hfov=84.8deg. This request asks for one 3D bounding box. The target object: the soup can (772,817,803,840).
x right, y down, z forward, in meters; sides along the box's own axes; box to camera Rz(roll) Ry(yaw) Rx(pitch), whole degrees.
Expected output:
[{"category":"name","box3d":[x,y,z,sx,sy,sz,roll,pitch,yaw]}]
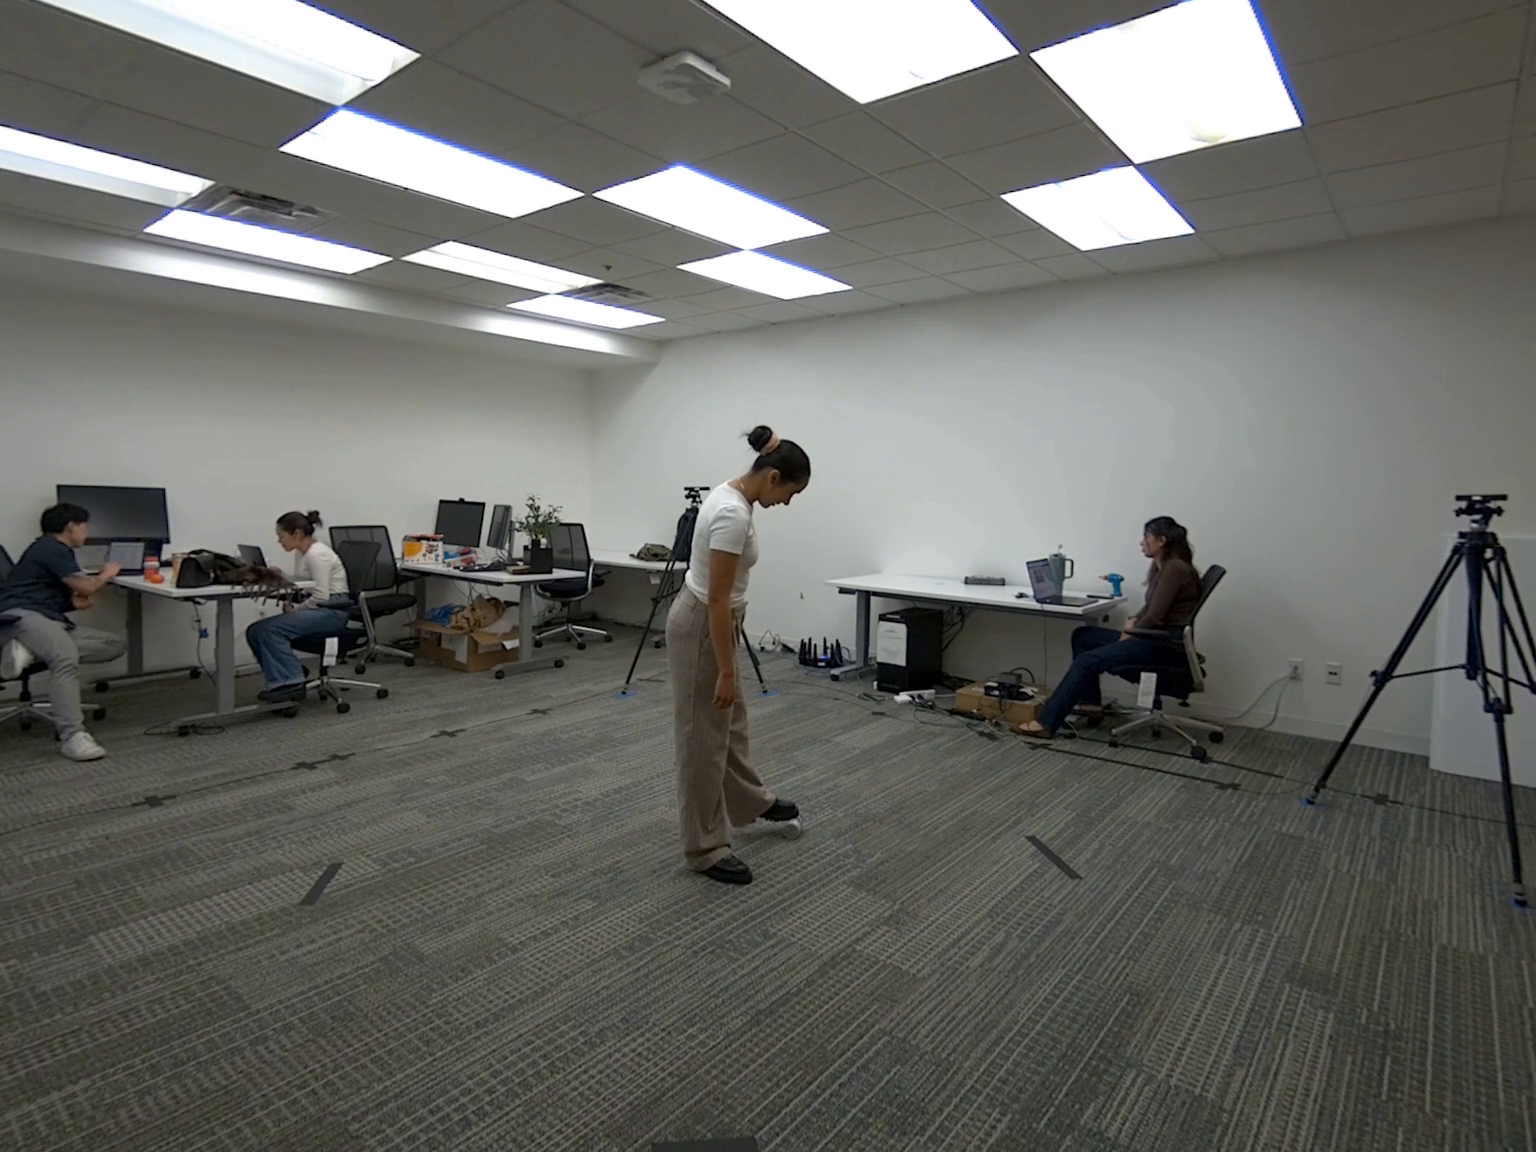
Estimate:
[{"category":"soup can","box3d":[0.088,1.006,3.436,0.068,0.067,0.121,1,5,9]}]
